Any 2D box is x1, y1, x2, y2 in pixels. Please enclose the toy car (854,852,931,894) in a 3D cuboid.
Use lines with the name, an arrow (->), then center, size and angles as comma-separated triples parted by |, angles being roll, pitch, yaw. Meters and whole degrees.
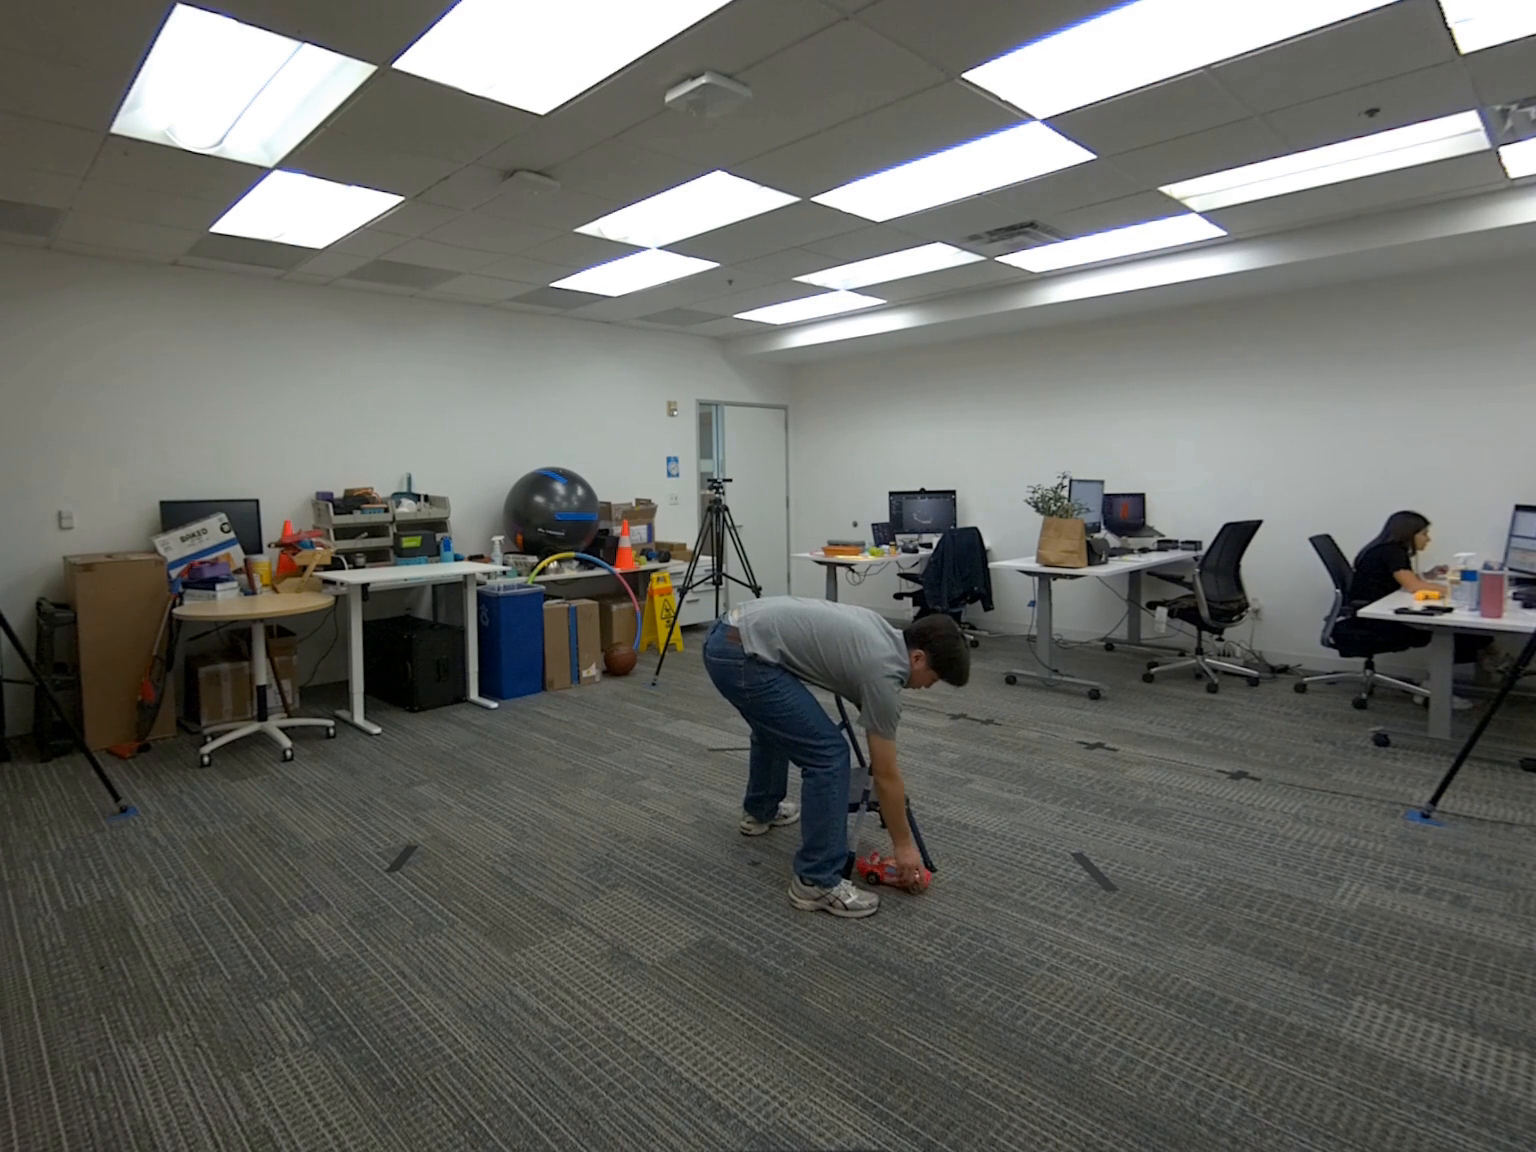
toy car -> 0.424, 1.029, 2.951 | 0.261, 0.082, 0.128 | 16, 13, 23
